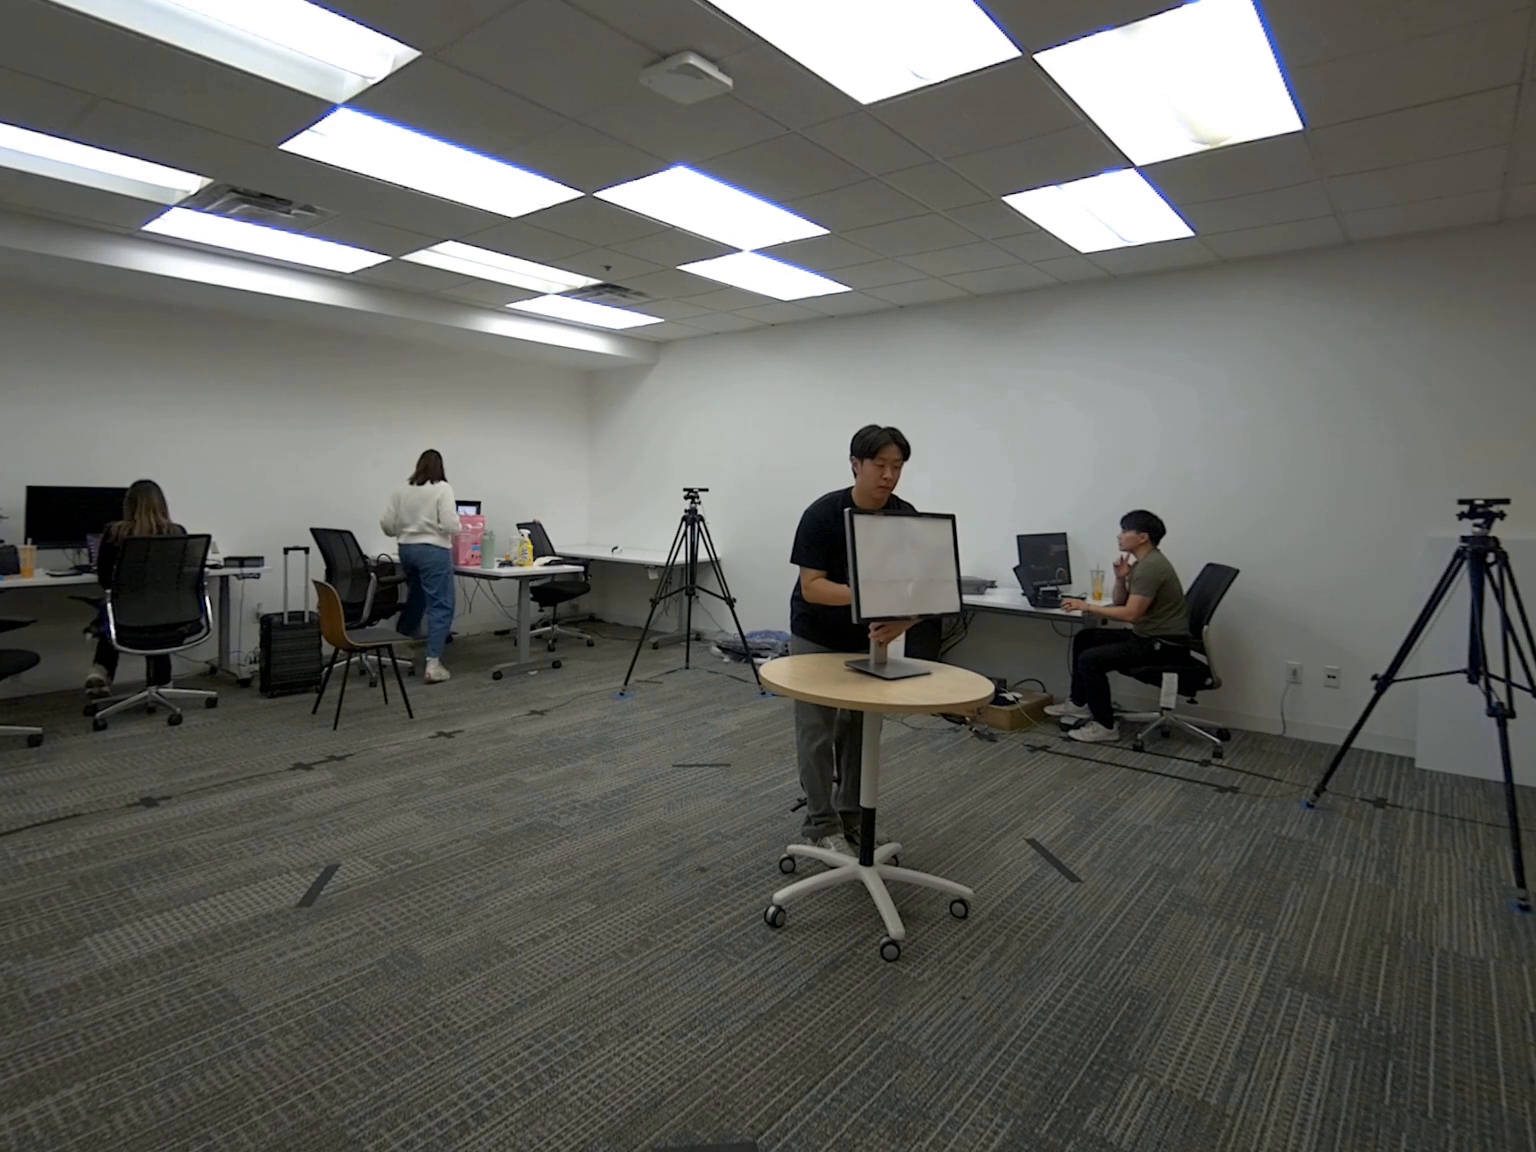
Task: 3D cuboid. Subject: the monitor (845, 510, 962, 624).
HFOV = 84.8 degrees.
[{"bbox_3d":[0.437,0.058,2.884,0.544,0.563,0.230,0,8,-38],"label":"monitor"}]
